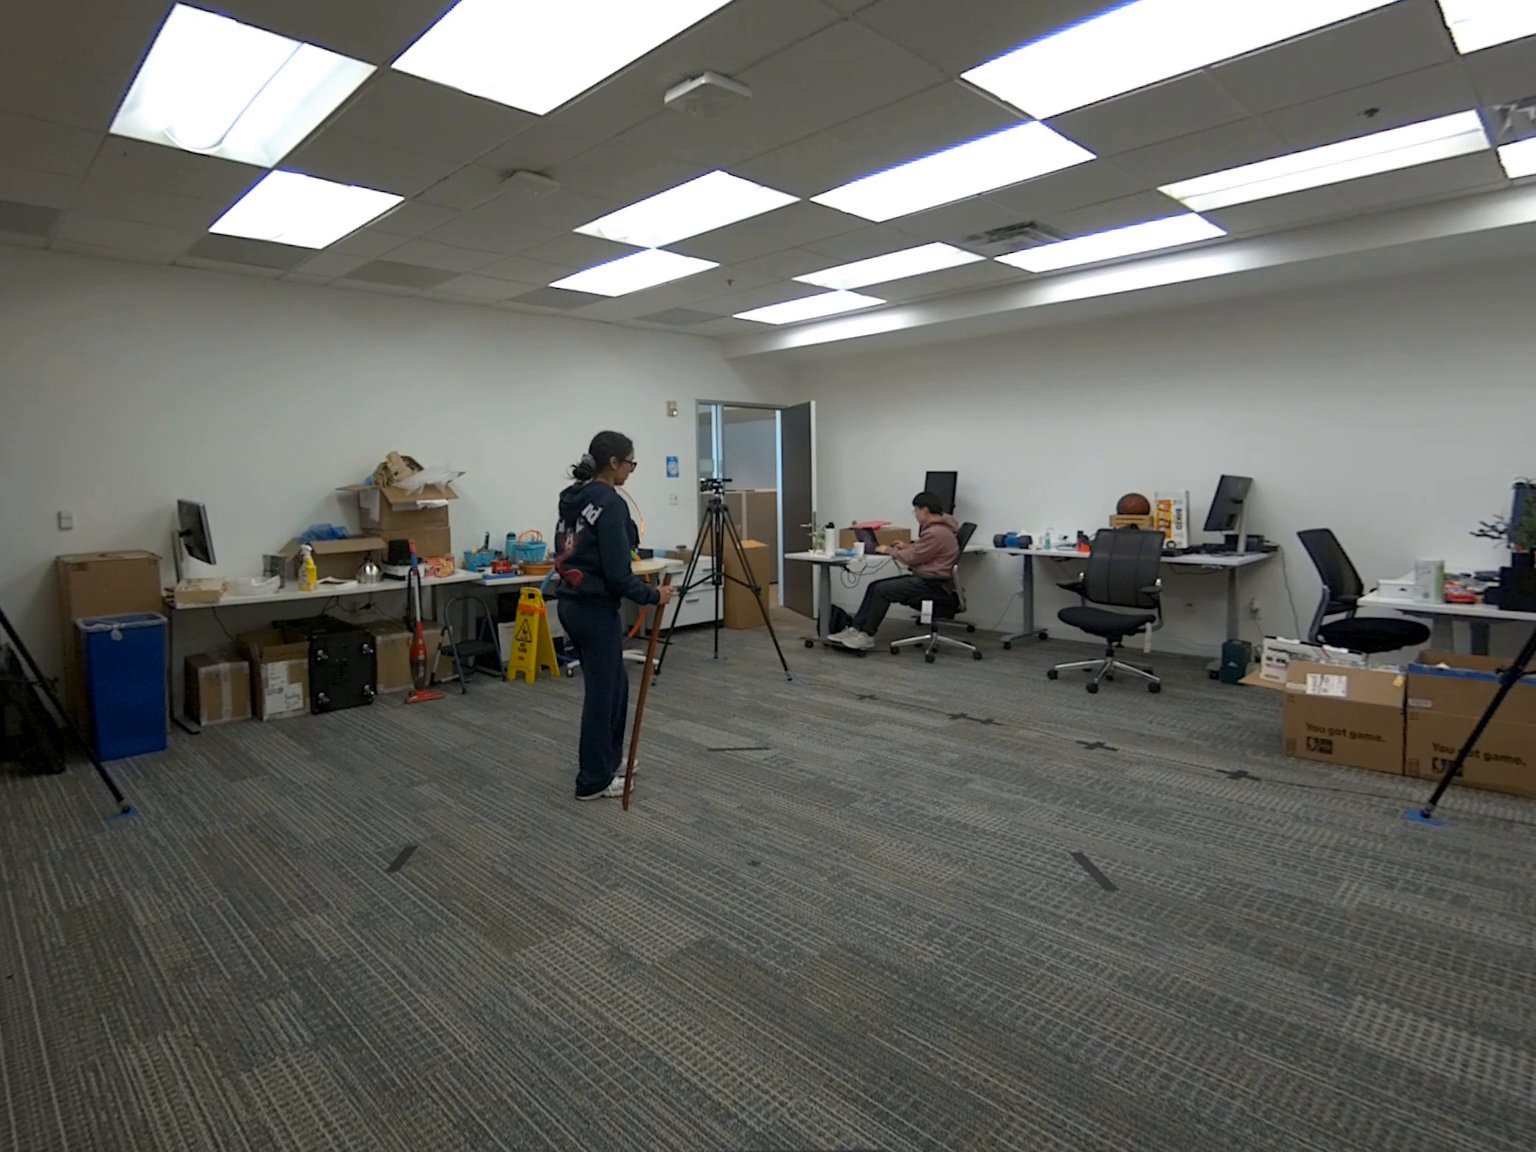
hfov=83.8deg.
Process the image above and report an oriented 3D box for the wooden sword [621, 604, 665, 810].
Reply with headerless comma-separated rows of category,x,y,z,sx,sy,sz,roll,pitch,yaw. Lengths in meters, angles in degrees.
wooden sword,-0.527,0.501,3.710,0.023,1.030,0.053,18,-10,-41
